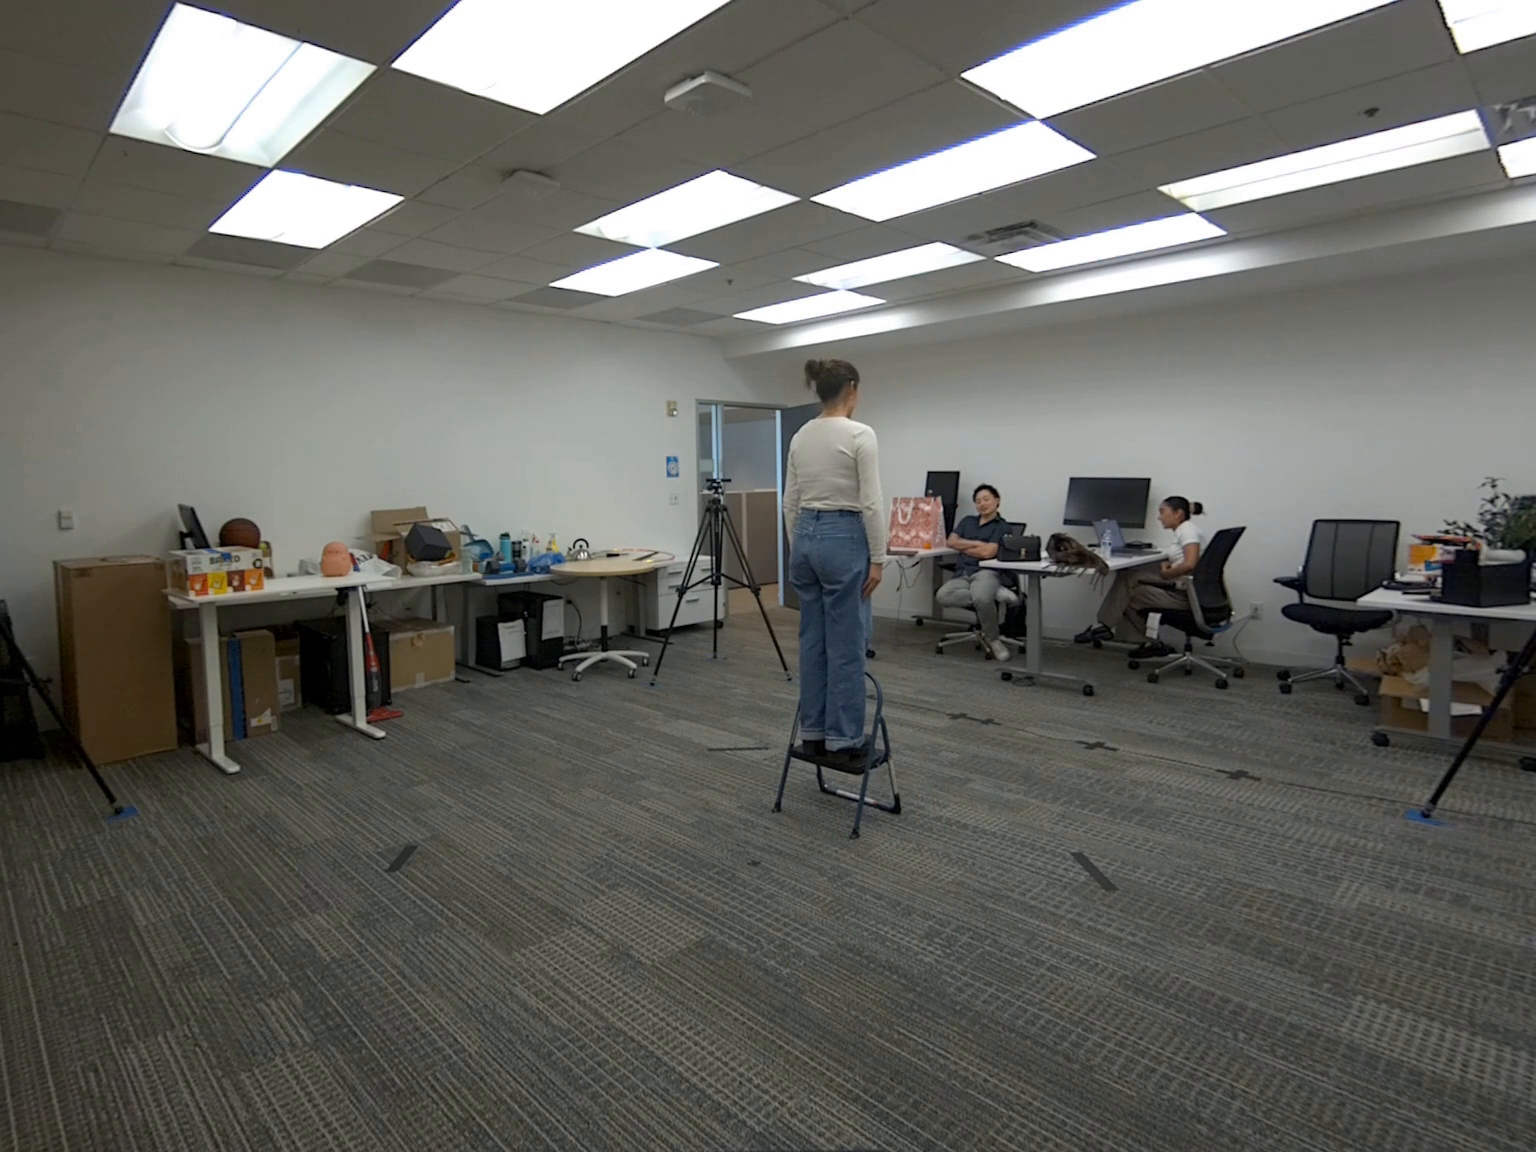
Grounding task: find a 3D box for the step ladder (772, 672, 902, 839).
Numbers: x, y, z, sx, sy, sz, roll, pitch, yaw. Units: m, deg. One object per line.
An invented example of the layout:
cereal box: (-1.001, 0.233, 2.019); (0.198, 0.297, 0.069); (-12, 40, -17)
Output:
step ladder: (0.289, 0.687, 3.550); (0.444, 0.604, 0.340); (4, 5, 42)
